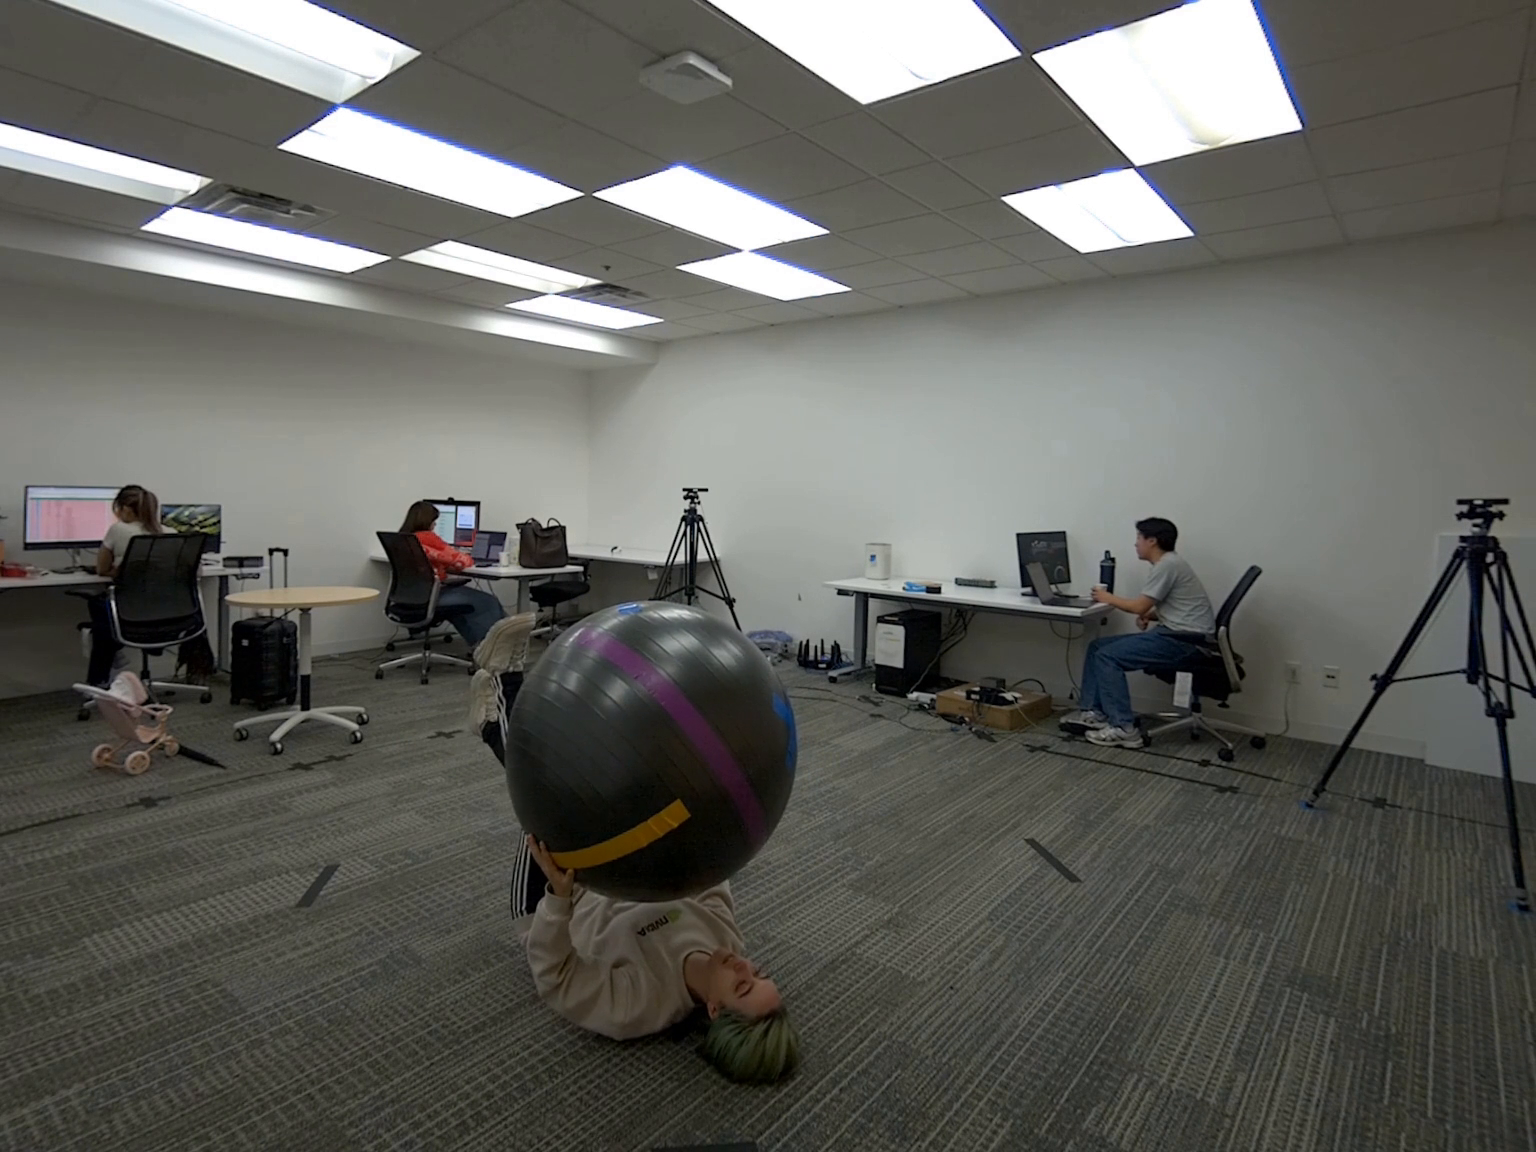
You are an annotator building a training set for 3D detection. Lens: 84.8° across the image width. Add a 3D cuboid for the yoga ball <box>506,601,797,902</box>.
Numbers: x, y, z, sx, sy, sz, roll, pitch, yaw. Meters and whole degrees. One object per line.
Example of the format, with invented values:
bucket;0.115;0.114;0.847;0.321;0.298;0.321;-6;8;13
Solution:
yoga ball;-0.307;0.445;2.229;0.757;0.755;0.762;1;4;-2
